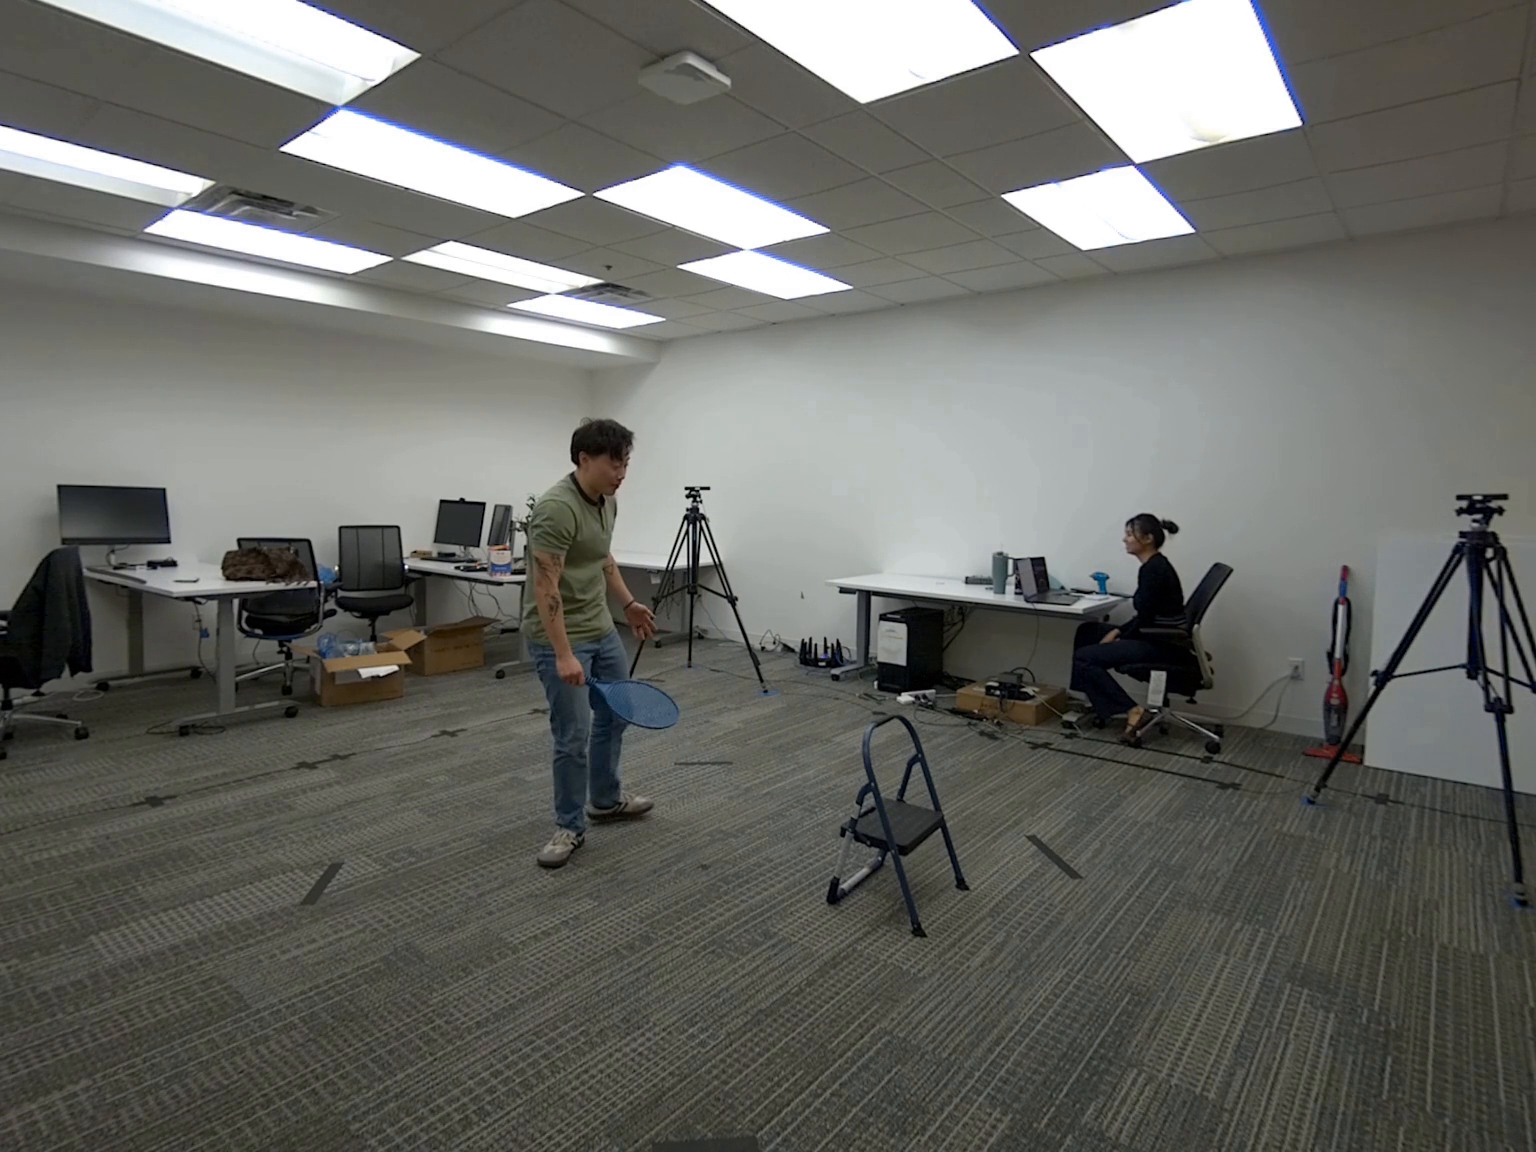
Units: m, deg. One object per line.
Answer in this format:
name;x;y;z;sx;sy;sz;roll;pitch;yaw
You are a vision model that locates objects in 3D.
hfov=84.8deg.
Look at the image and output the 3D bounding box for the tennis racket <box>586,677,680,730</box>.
tennis racket;-0.518;0.425;2.929;0.434;0.031;0.216;18;29;1
